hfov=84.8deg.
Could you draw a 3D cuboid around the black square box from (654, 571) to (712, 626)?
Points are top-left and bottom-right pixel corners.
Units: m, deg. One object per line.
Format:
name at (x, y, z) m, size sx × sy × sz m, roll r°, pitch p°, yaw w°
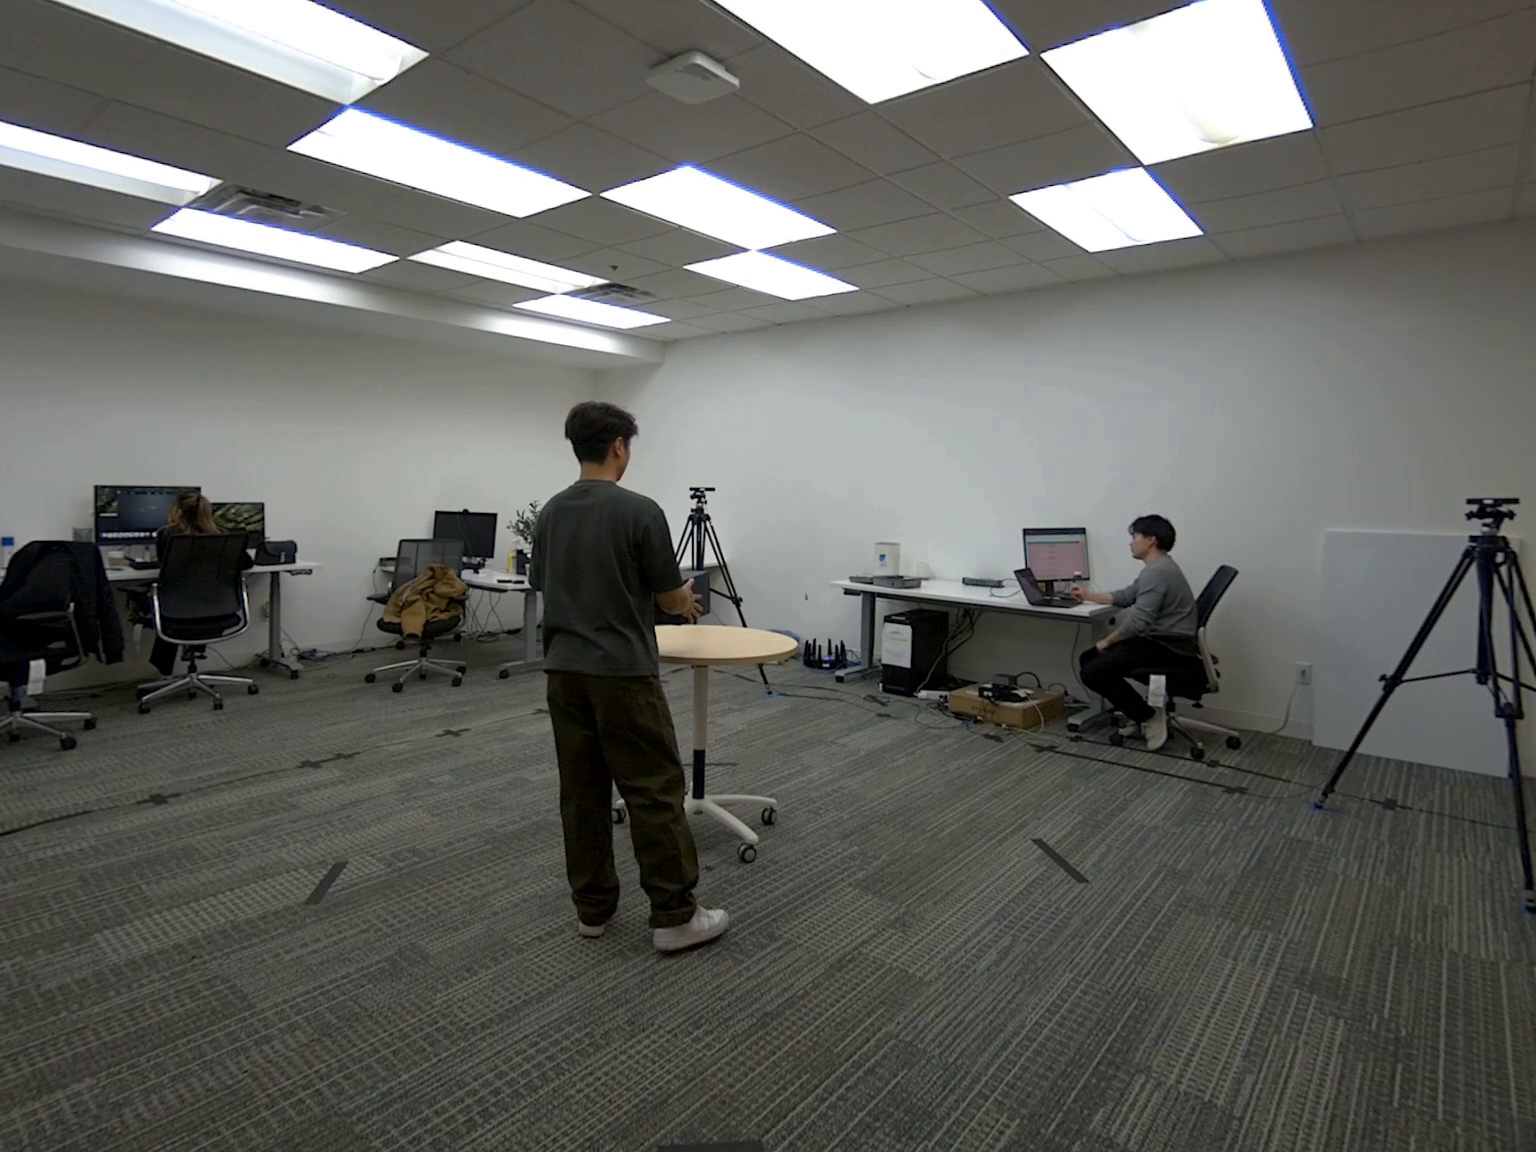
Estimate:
black square box at (-0.359, 0.068, 3.065) m, size 0.222 × 0.155 × 0.224 m, roll 2°, pitch 8°, yaw 24°
